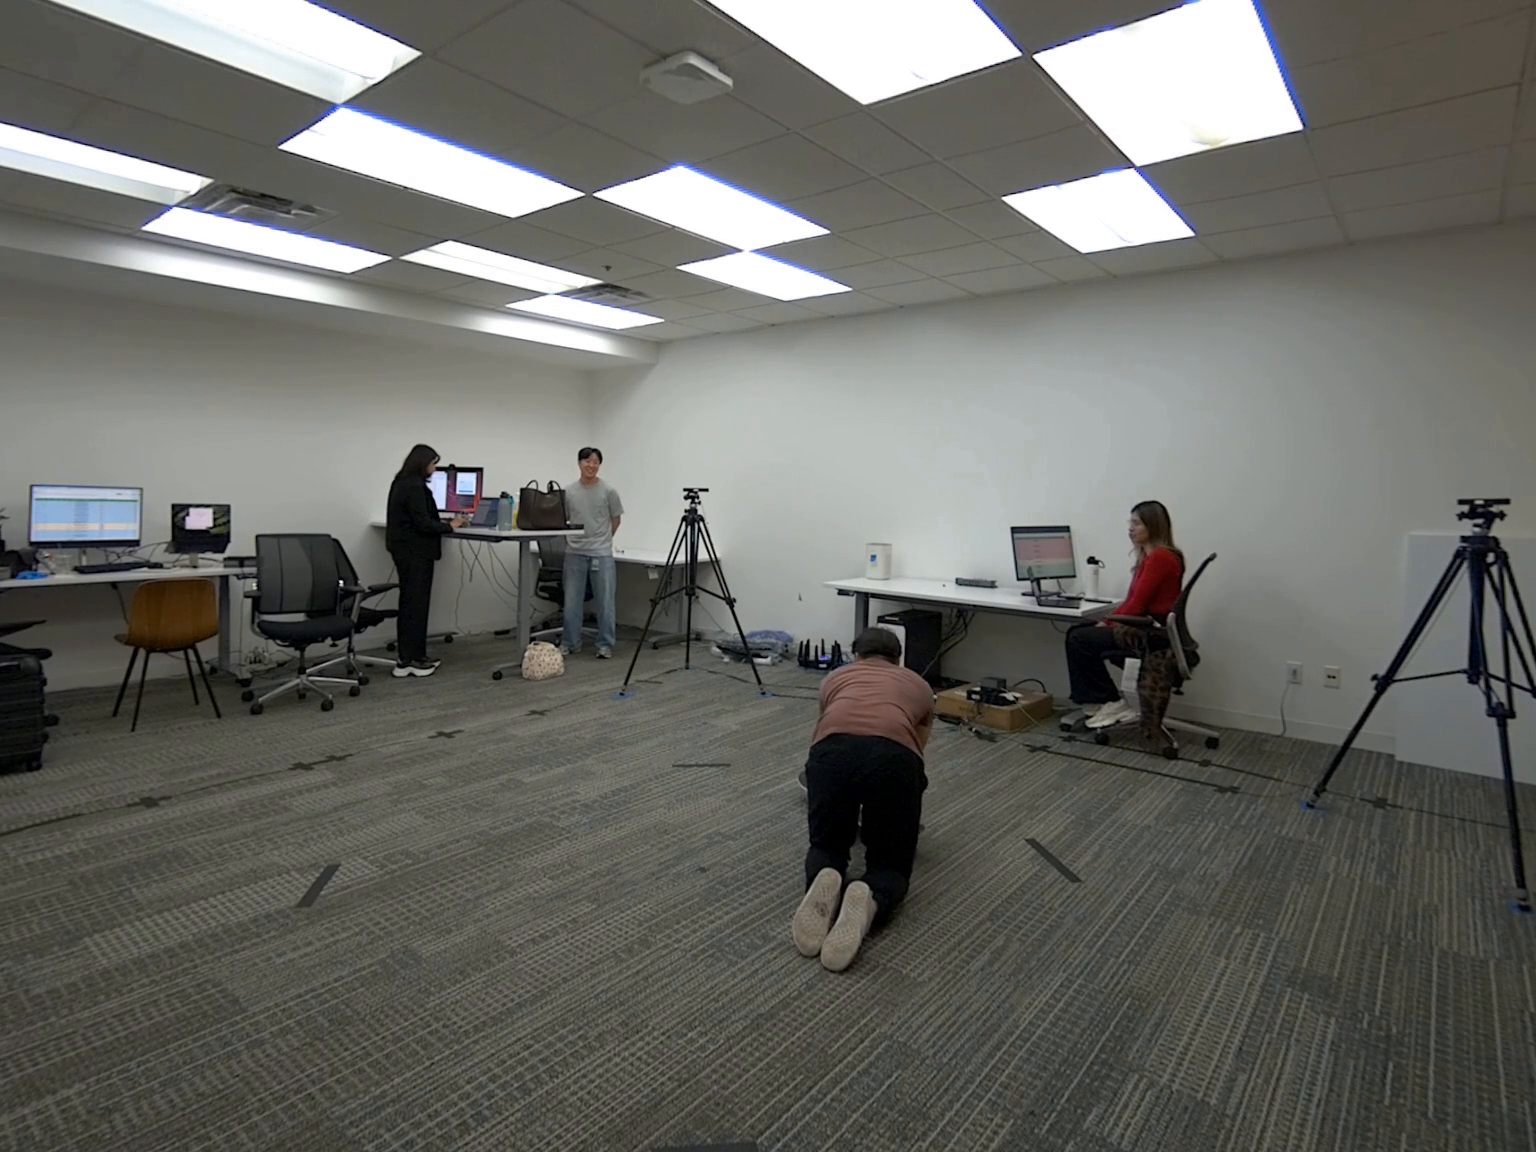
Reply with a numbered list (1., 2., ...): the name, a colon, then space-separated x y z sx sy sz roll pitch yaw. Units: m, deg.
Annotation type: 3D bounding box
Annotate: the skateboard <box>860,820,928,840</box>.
1. skateboard: 0.363 0.975 3.555 0.189 0.109 0.808 -7 9 -26
